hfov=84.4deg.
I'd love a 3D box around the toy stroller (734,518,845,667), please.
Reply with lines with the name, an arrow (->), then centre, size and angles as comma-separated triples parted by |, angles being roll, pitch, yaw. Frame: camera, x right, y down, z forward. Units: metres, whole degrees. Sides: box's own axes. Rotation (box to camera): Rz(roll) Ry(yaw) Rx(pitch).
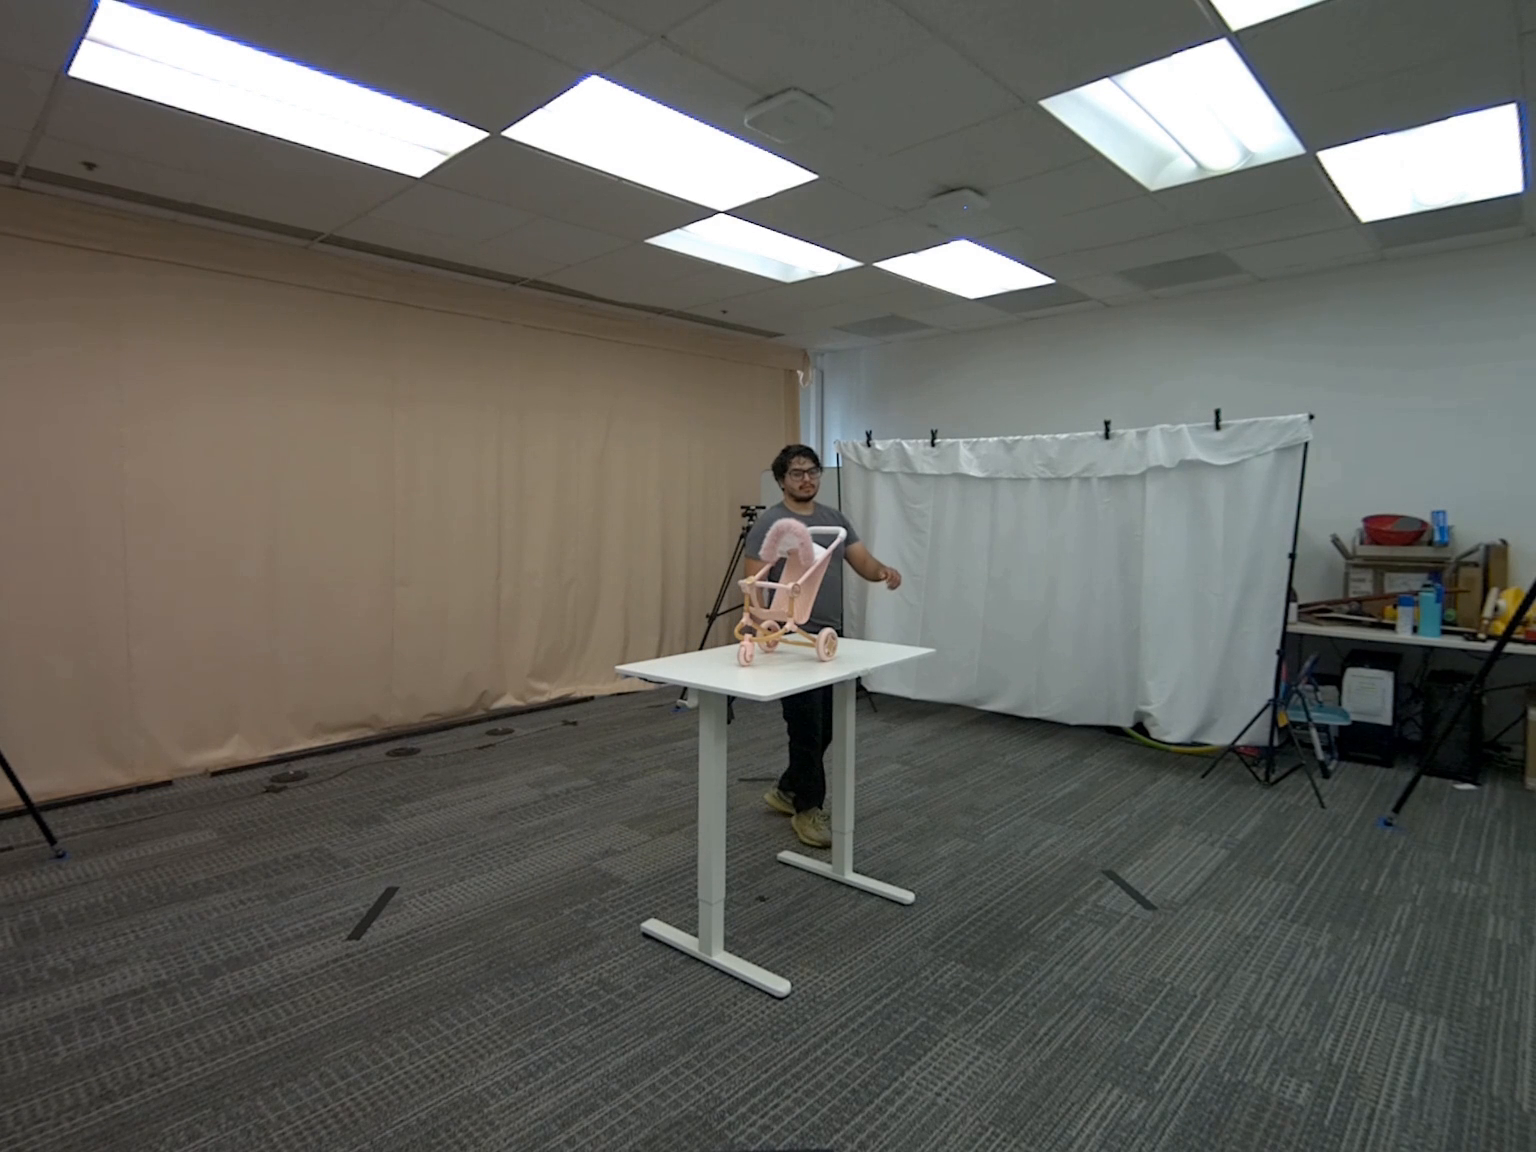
toy stroller -> 0.057, 0.051, 2.785 | 0.291, 0.537, 0.329 | 3, -12, 46
